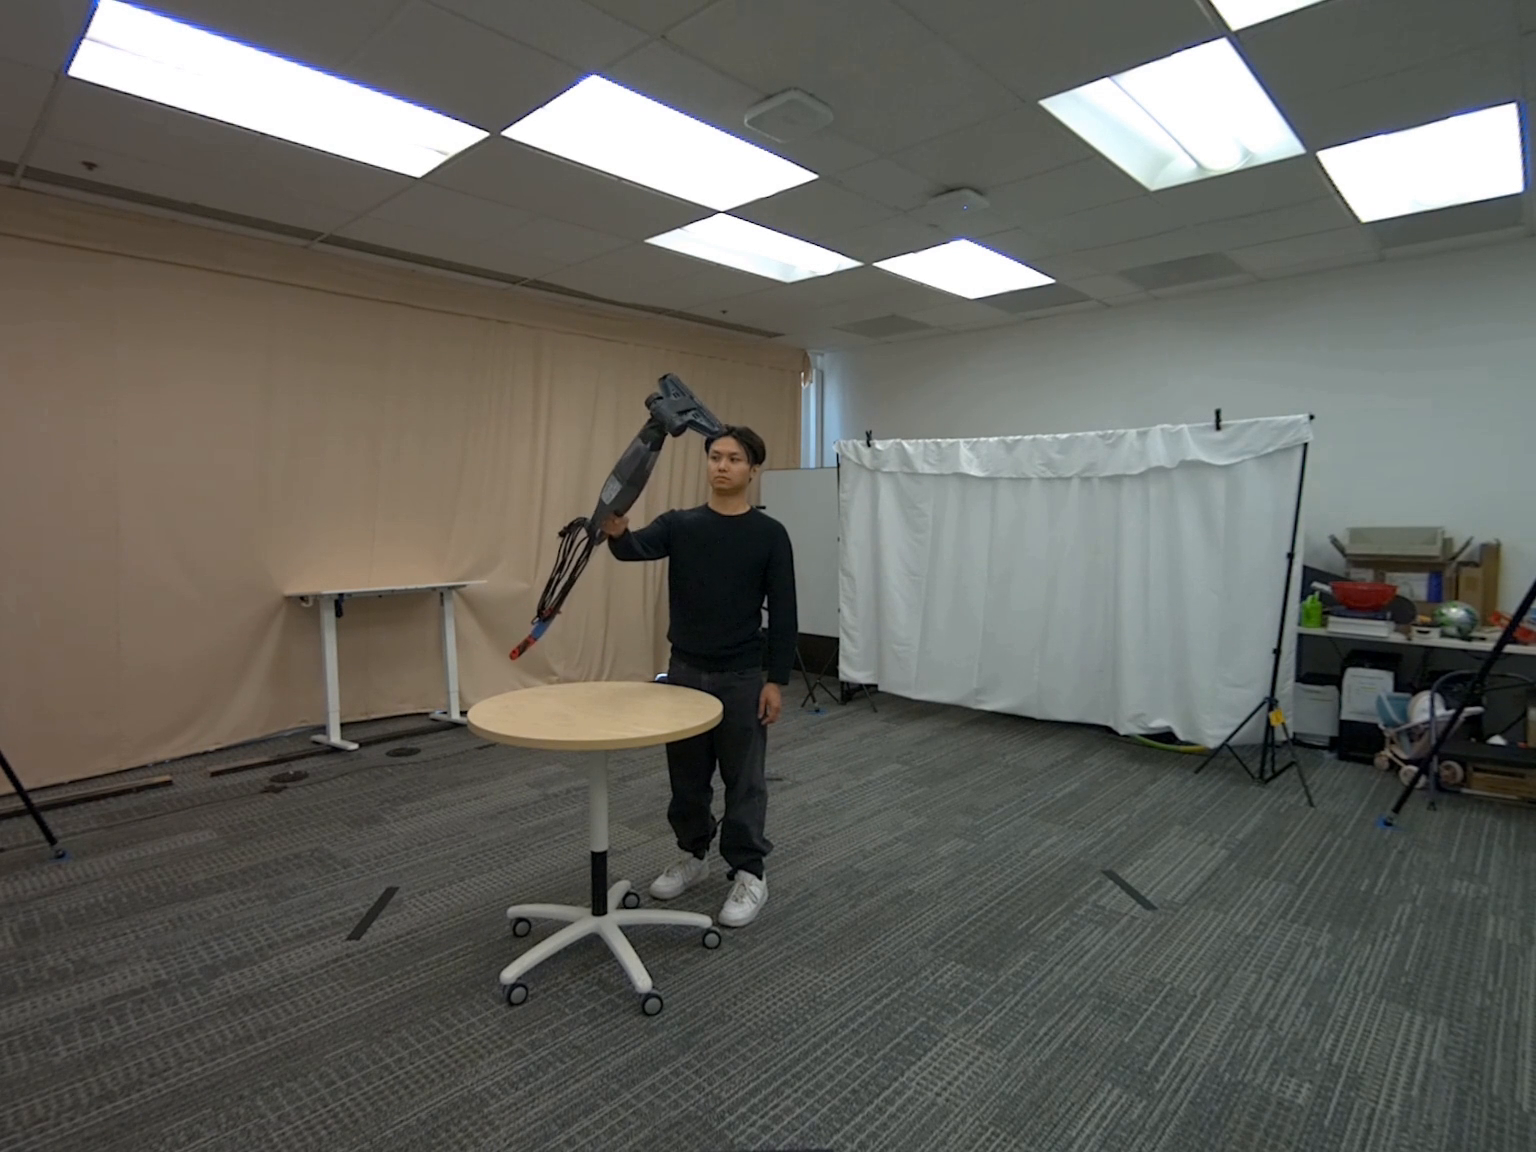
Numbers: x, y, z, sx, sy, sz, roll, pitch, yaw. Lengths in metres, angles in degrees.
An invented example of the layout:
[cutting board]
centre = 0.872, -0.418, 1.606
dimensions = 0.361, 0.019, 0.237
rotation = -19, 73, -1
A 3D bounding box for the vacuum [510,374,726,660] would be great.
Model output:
[vacuum]
centre = -0.541, -0.102, 2.526
dimensions = 0.258, 1.053, 0.140
rotation = 47, 26, 17
